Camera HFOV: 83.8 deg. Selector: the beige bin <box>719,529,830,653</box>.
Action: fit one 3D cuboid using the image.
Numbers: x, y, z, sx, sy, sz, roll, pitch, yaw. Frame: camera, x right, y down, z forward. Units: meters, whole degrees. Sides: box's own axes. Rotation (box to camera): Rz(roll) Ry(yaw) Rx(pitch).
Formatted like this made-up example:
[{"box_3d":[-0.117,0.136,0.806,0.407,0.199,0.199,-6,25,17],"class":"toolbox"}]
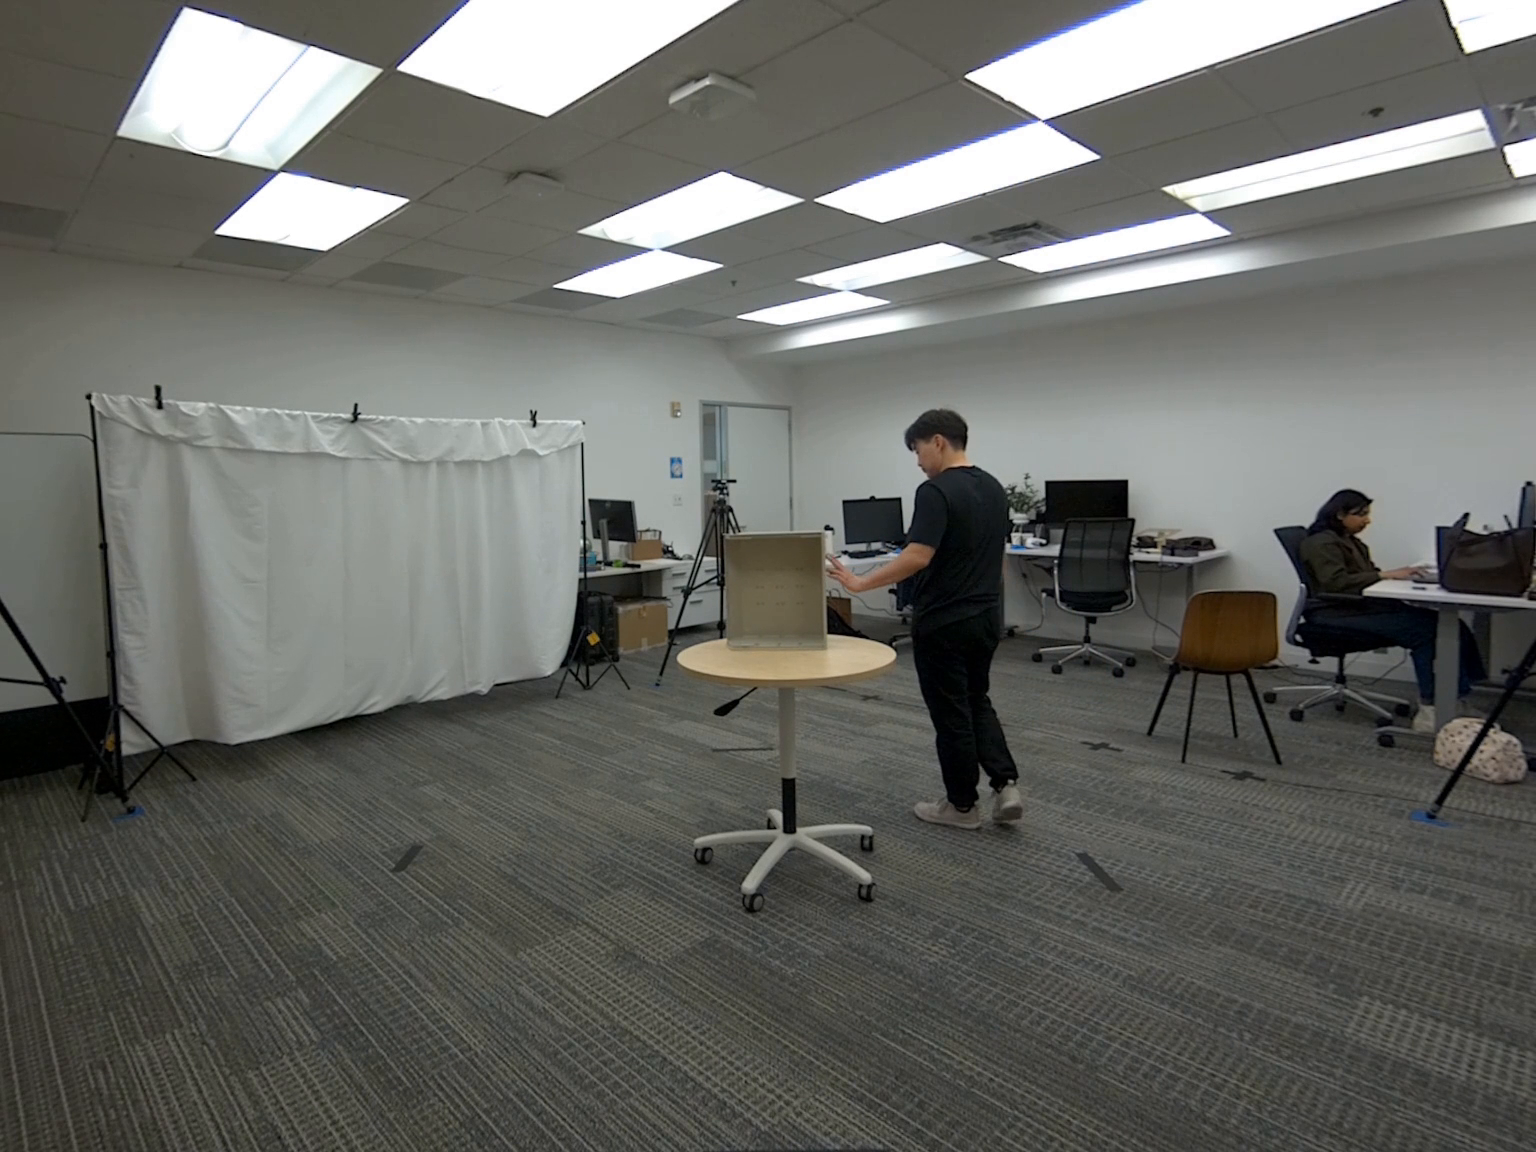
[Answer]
[{"box_3d":[0.025,0.048,3.146,0.379,0.421,0.188,-2,3,6],"class":"beige bin"}]
